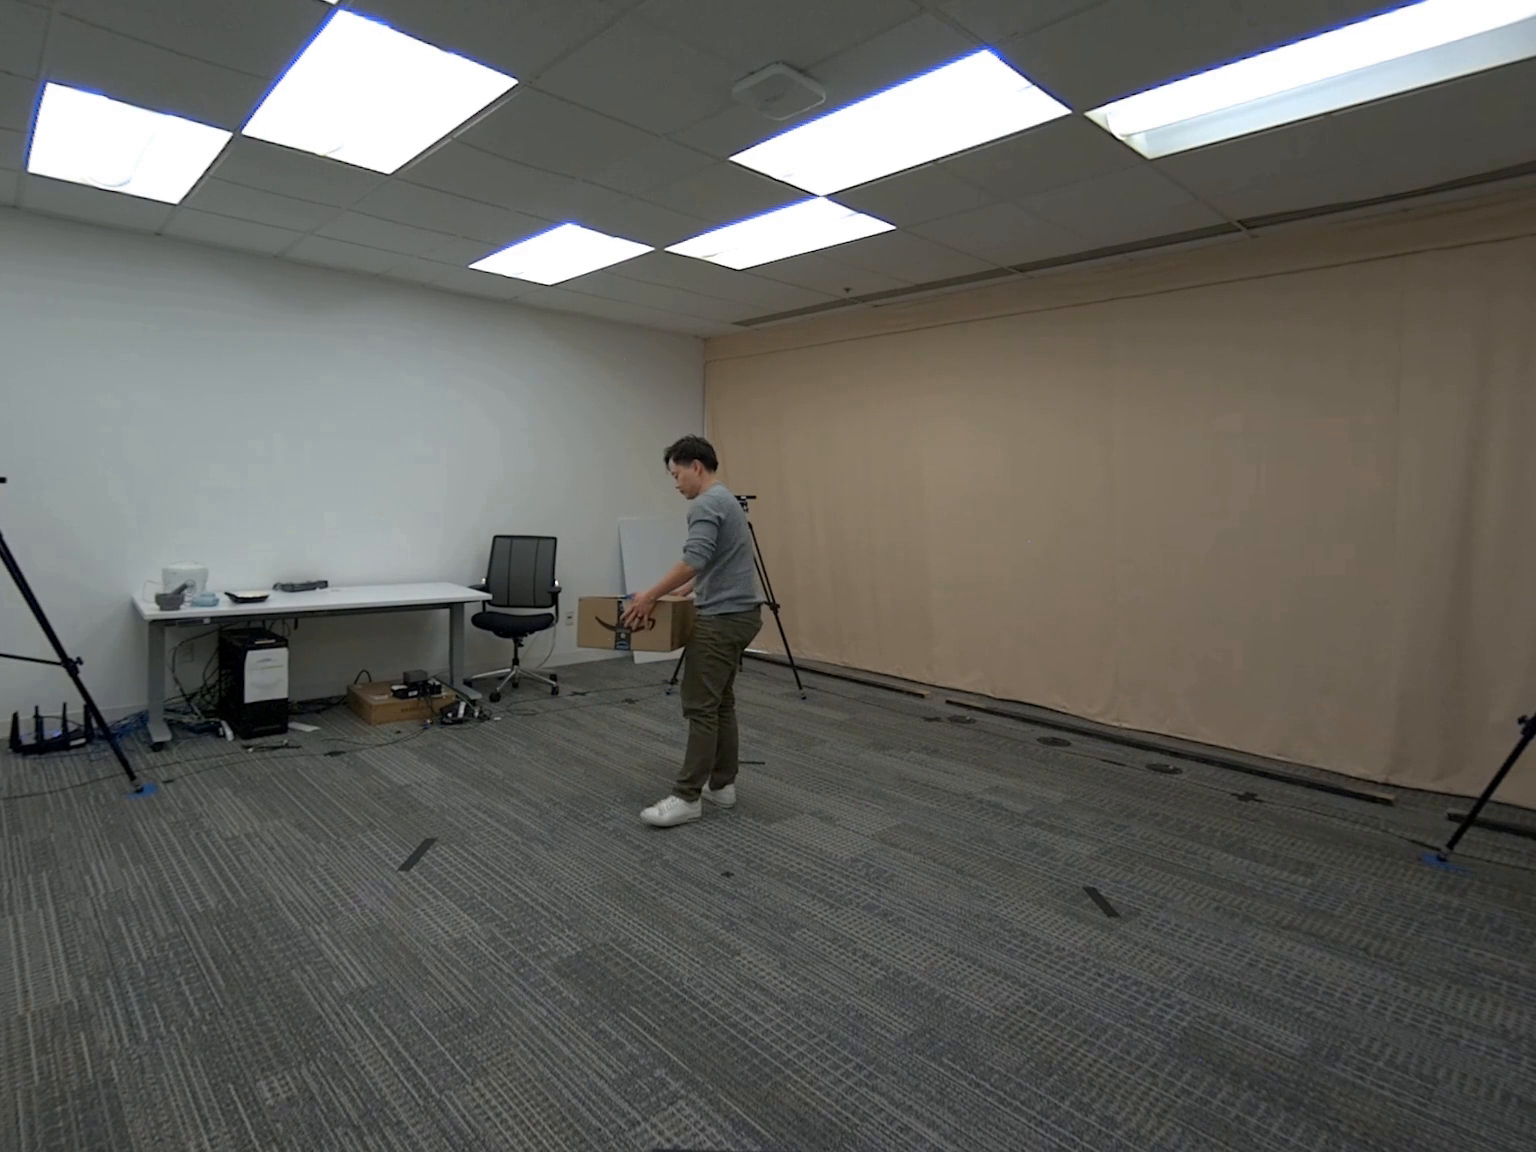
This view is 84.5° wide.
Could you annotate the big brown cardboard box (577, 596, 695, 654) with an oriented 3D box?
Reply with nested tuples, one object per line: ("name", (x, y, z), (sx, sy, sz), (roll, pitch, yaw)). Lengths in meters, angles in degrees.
("big brown cardboard box", (-0.581, 0.199, 3.825), (0.420, 0.233, 0.585), (2, 1, 7))
